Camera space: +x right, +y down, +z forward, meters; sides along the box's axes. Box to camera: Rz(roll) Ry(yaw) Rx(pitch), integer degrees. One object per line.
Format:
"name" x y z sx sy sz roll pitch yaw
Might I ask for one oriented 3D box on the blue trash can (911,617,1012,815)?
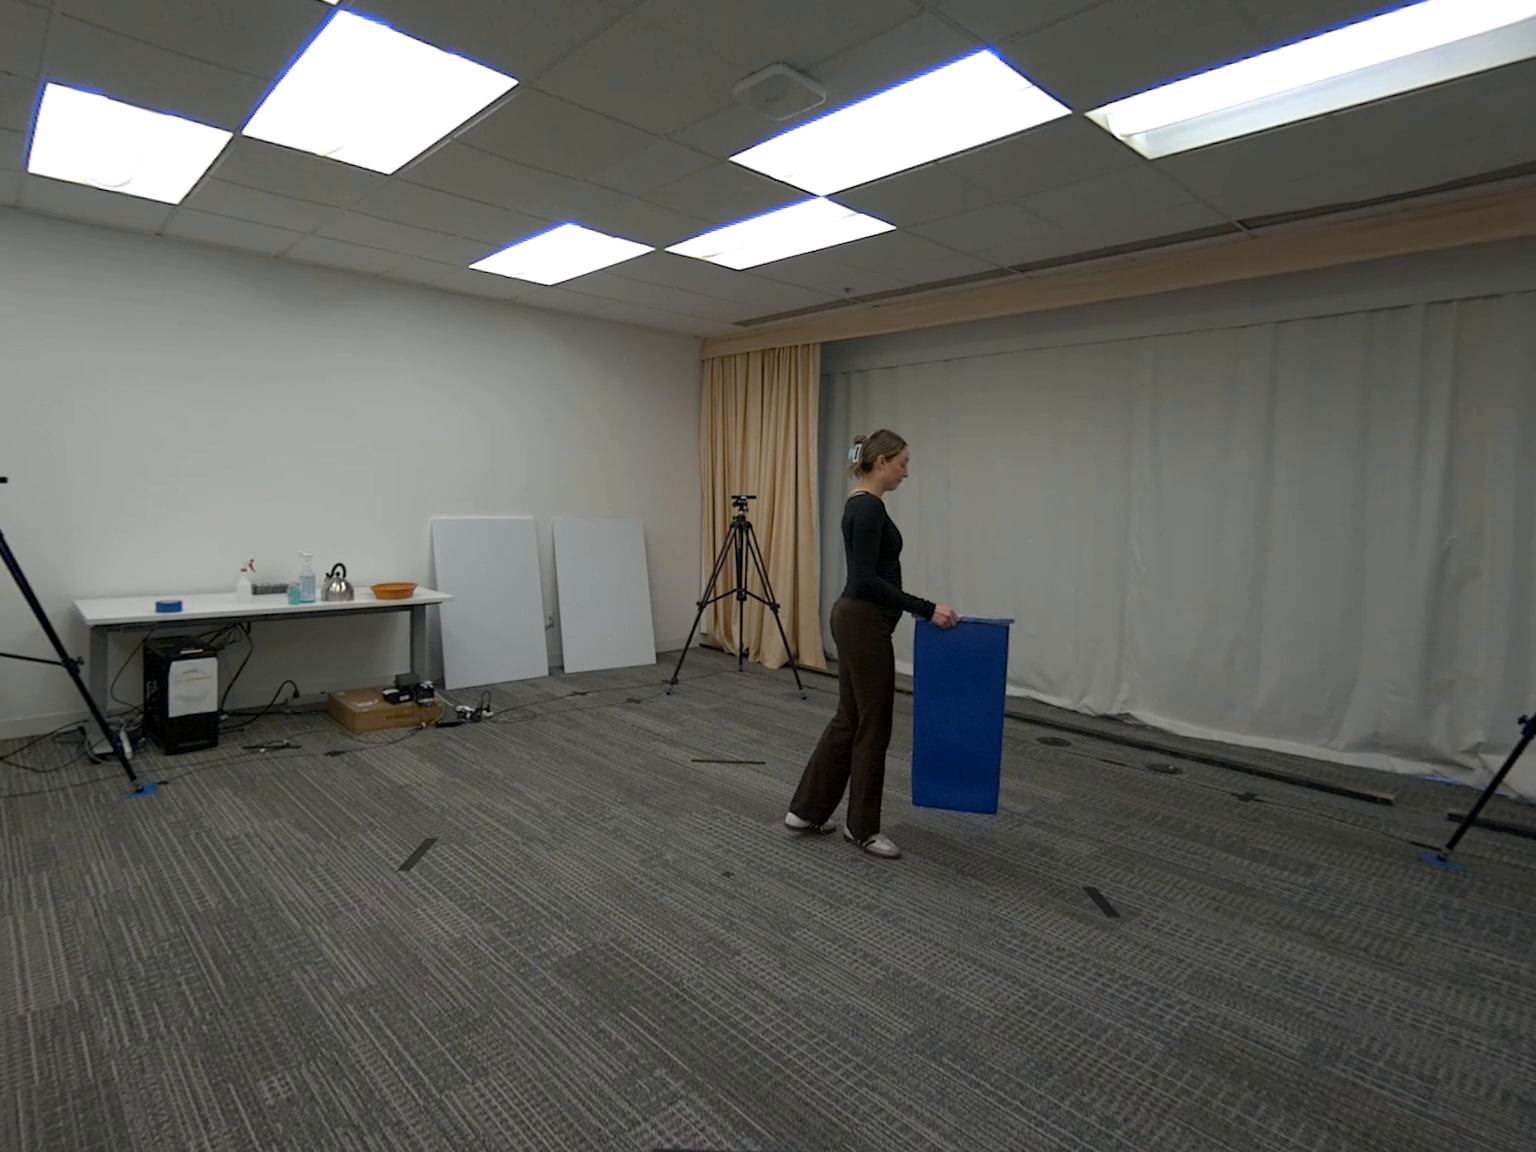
"blue trash can" 0.719 0.506 3.241 0.382 0.714 0.369 3 -1 14
